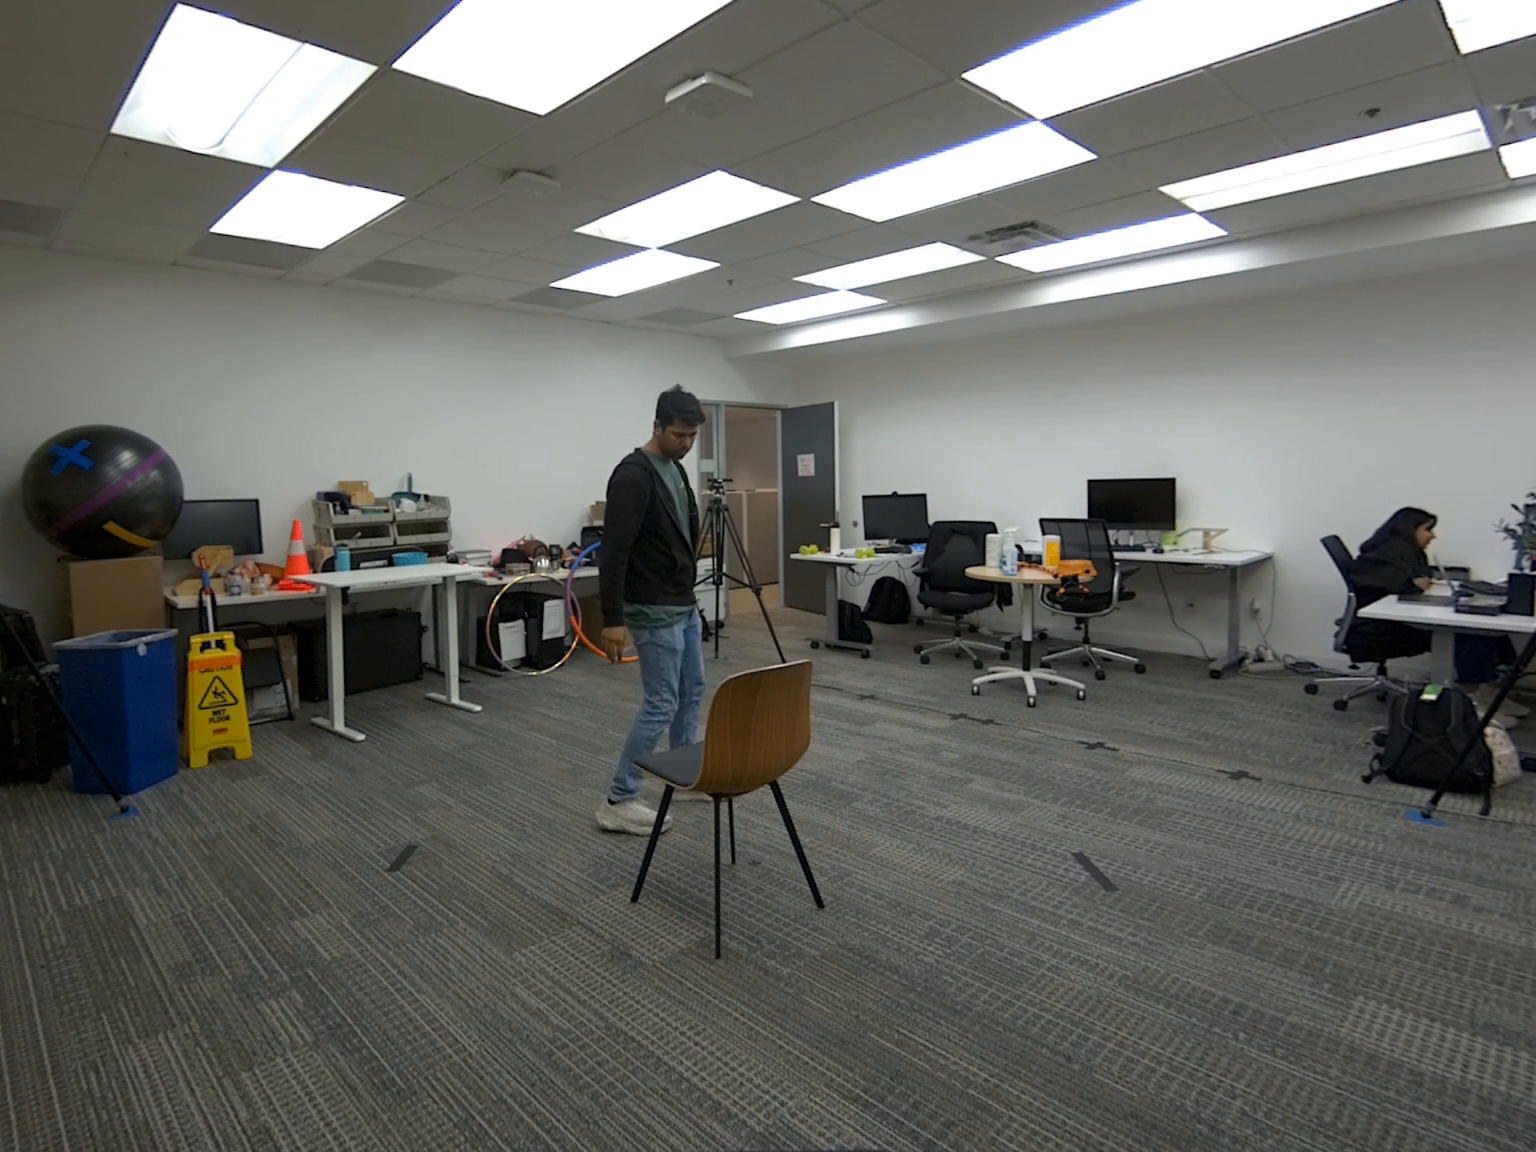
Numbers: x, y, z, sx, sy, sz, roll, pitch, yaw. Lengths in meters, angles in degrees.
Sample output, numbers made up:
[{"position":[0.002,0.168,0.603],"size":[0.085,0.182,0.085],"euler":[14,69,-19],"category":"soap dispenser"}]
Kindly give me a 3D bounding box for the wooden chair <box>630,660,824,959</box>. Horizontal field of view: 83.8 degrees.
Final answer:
[{"position":[-0.141,0.657,2.777],"size":[0.466,0.871,0.541],"euler":[-5,11,-41],"category":"wooden chair"}]
